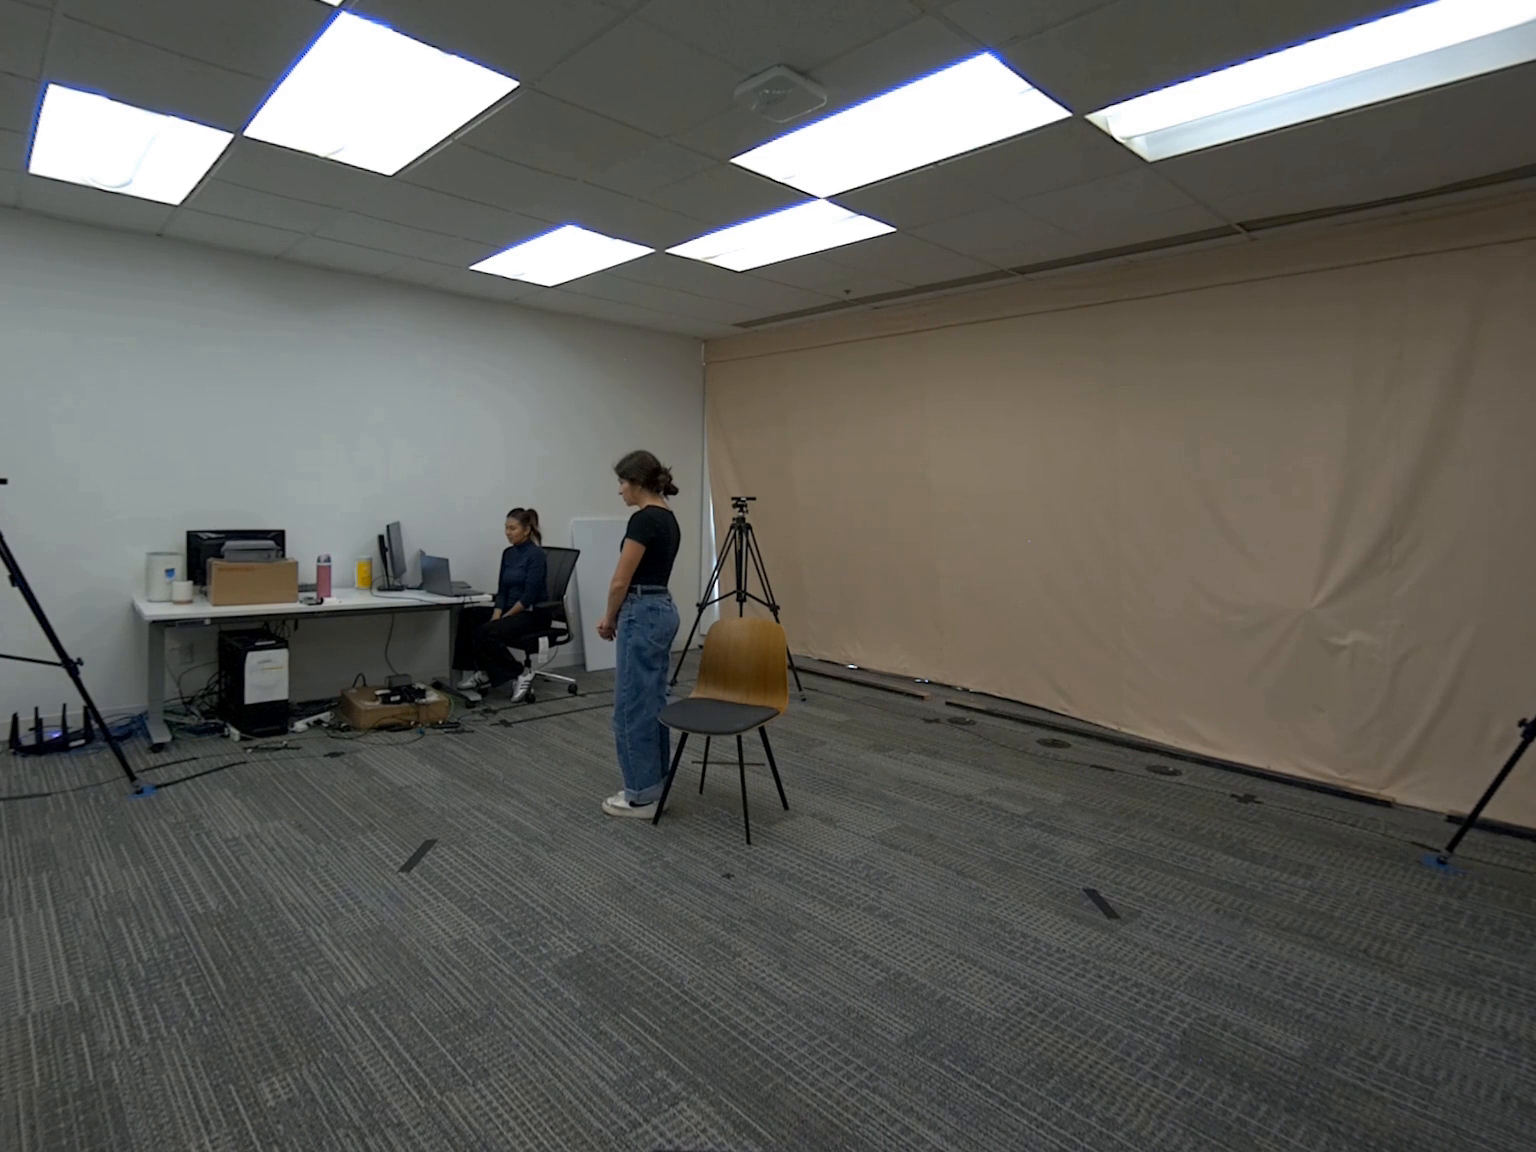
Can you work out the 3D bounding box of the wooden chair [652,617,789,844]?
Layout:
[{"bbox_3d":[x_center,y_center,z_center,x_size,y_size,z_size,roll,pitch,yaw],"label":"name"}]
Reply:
[{"bbox_3d":[-0.192,0.631,3.649,0.487,0.878,0.513,3,-1,24],"label":"wooden chair"}]
